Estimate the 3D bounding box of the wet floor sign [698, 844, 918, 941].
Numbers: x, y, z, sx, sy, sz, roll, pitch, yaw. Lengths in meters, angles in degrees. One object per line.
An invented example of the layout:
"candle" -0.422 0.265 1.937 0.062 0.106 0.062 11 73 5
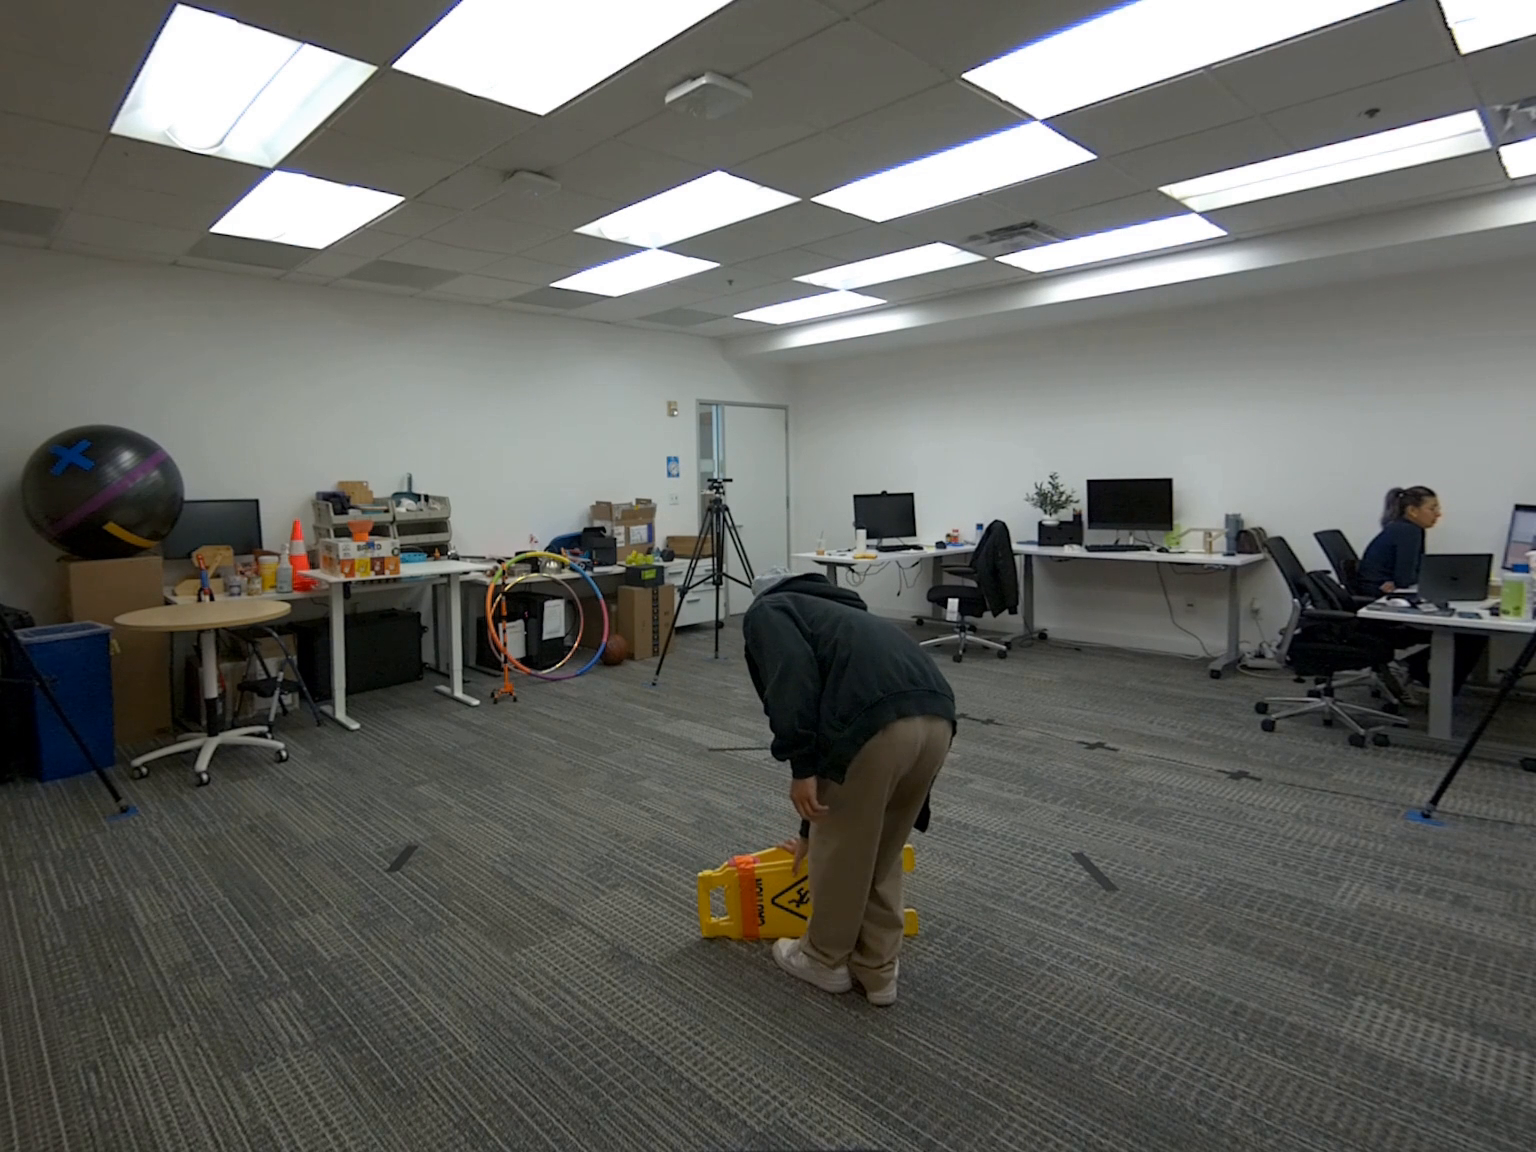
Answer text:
"wet floor sign" 0.113 0.970 2.645 0.640 0.281 0.294 -6 6 -11
